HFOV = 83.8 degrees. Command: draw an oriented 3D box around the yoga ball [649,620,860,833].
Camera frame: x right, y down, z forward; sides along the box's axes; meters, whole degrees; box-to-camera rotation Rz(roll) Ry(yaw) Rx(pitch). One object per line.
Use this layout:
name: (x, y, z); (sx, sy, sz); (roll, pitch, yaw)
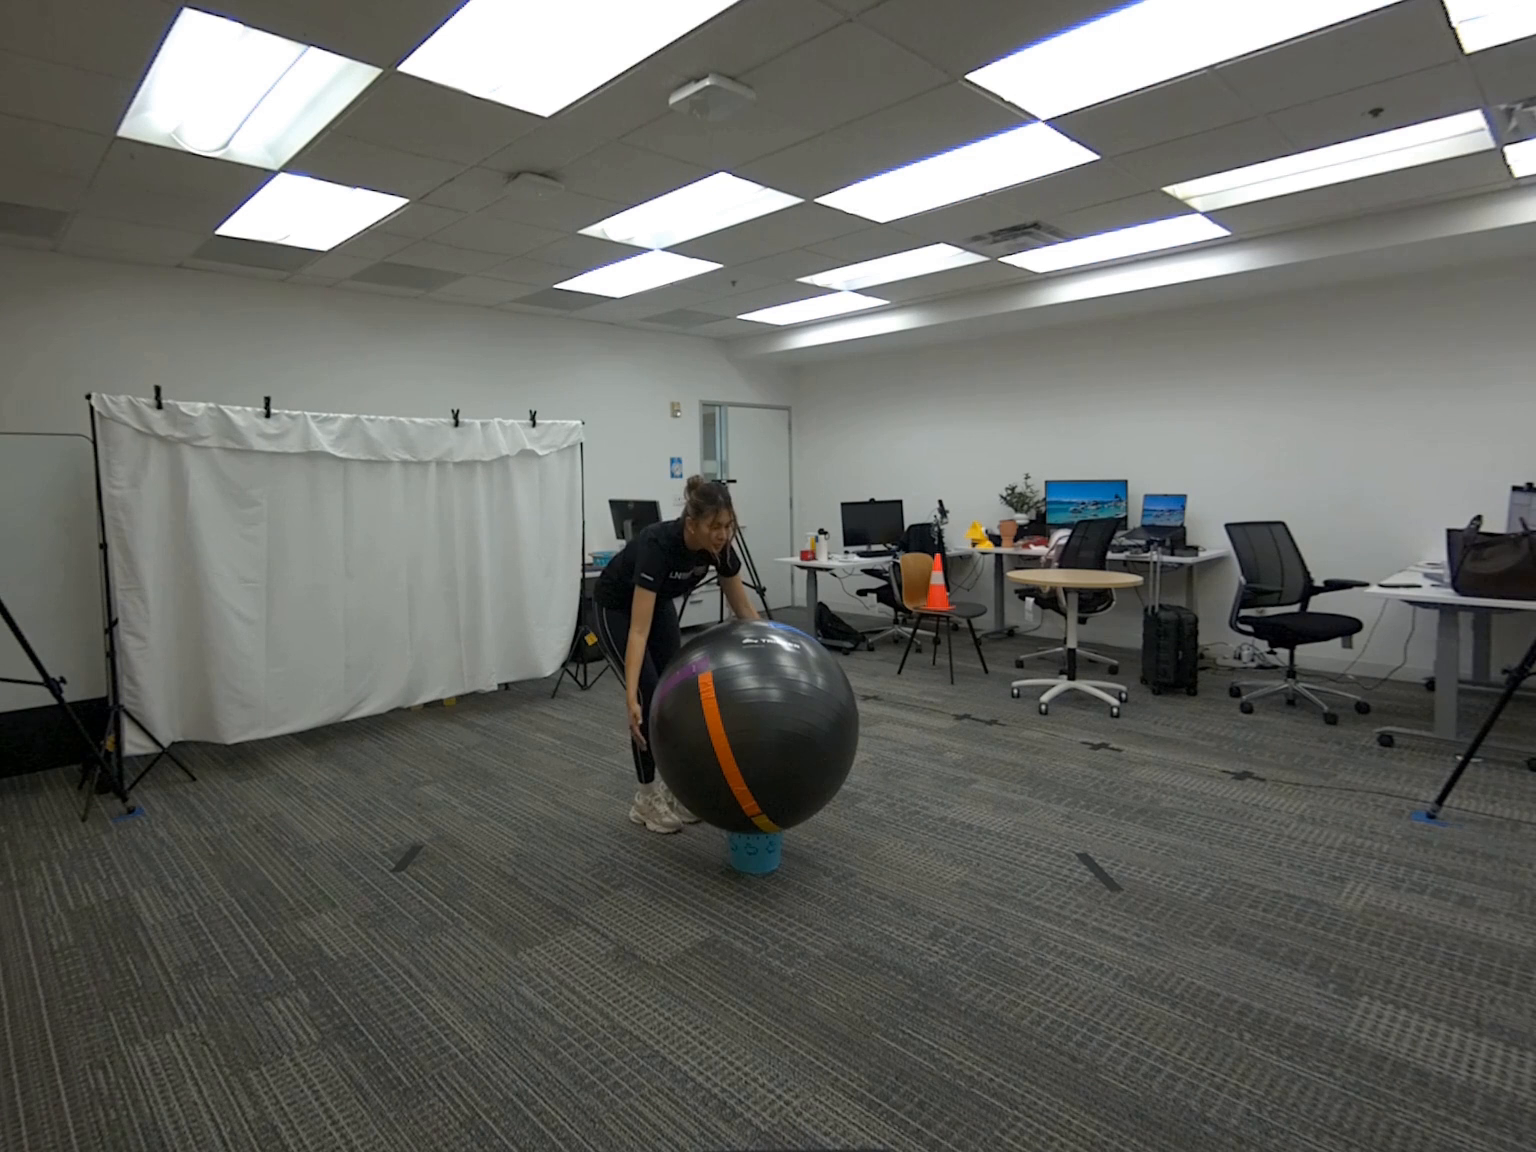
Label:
yoga ball: (-0.050, 0.541, 3.085); (0.757, 0.755, 0.762); (-1, 5, -2)
